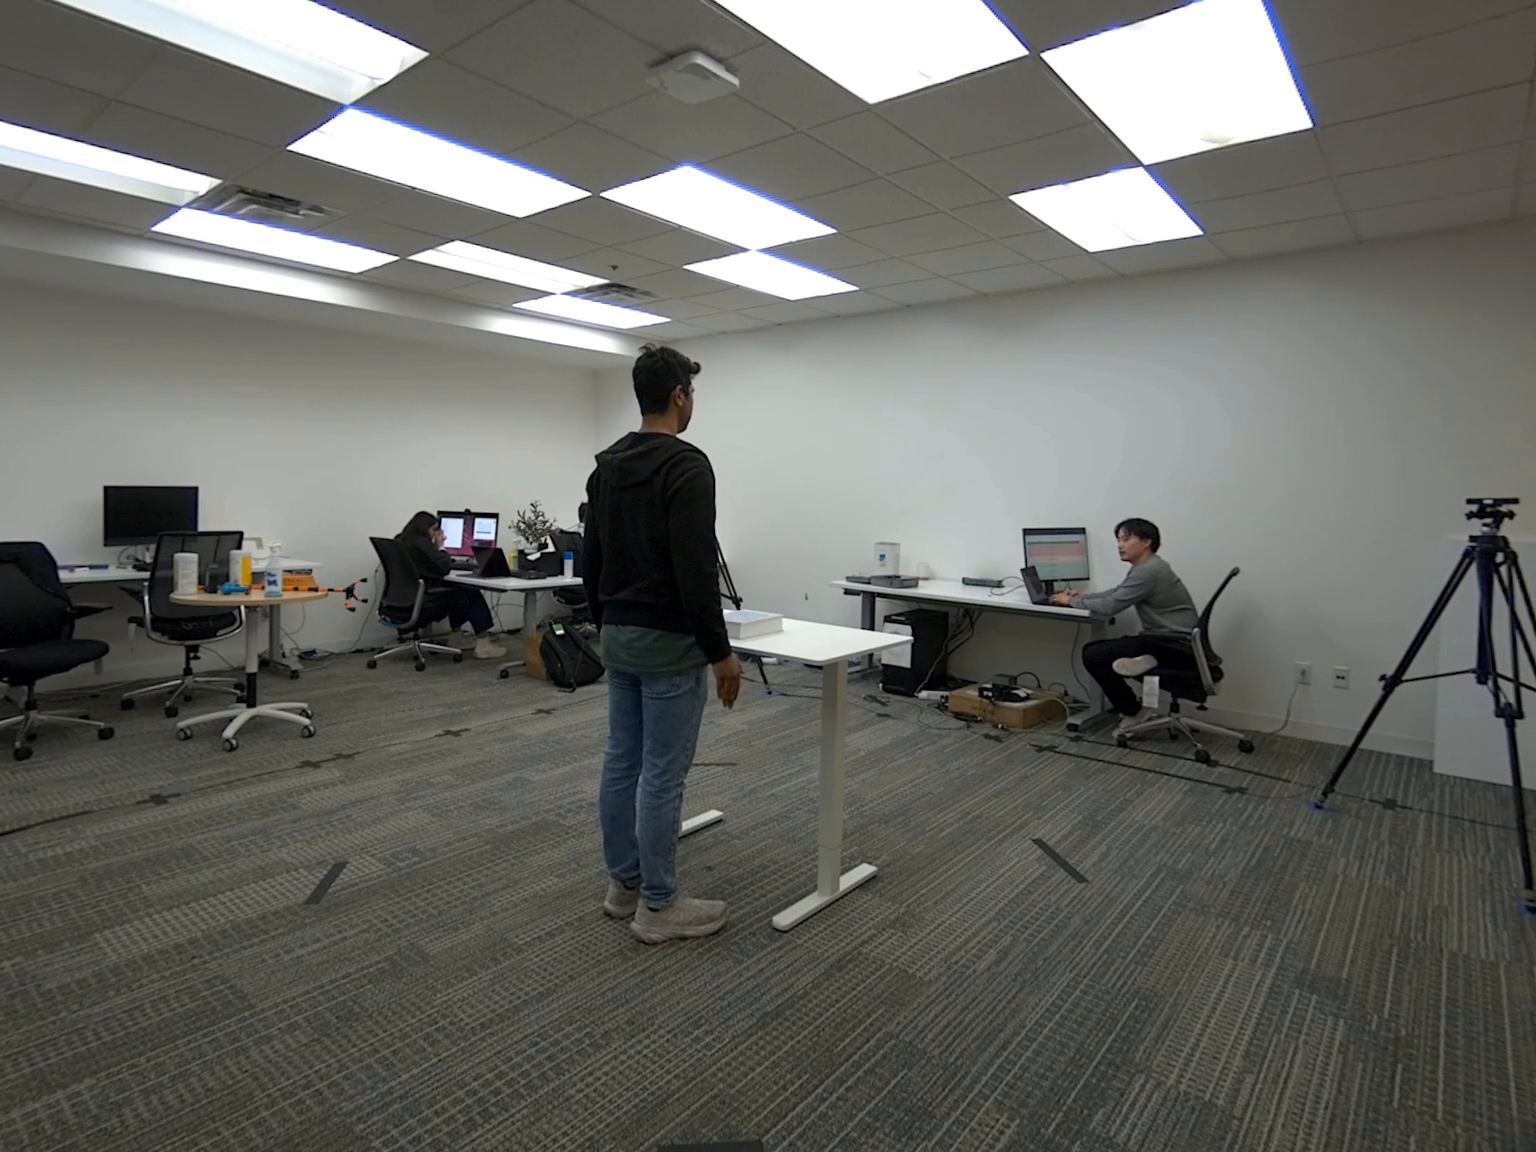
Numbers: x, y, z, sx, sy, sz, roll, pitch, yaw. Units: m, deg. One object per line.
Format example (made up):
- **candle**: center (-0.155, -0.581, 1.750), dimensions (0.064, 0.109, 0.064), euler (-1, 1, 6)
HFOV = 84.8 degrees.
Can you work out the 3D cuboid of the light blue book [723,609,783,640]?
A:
- **light blue book**: center (-0.081, 0.168, 3.038), dimensions (0.269, 0.059, 0.186), euler (4, 6, 37)
